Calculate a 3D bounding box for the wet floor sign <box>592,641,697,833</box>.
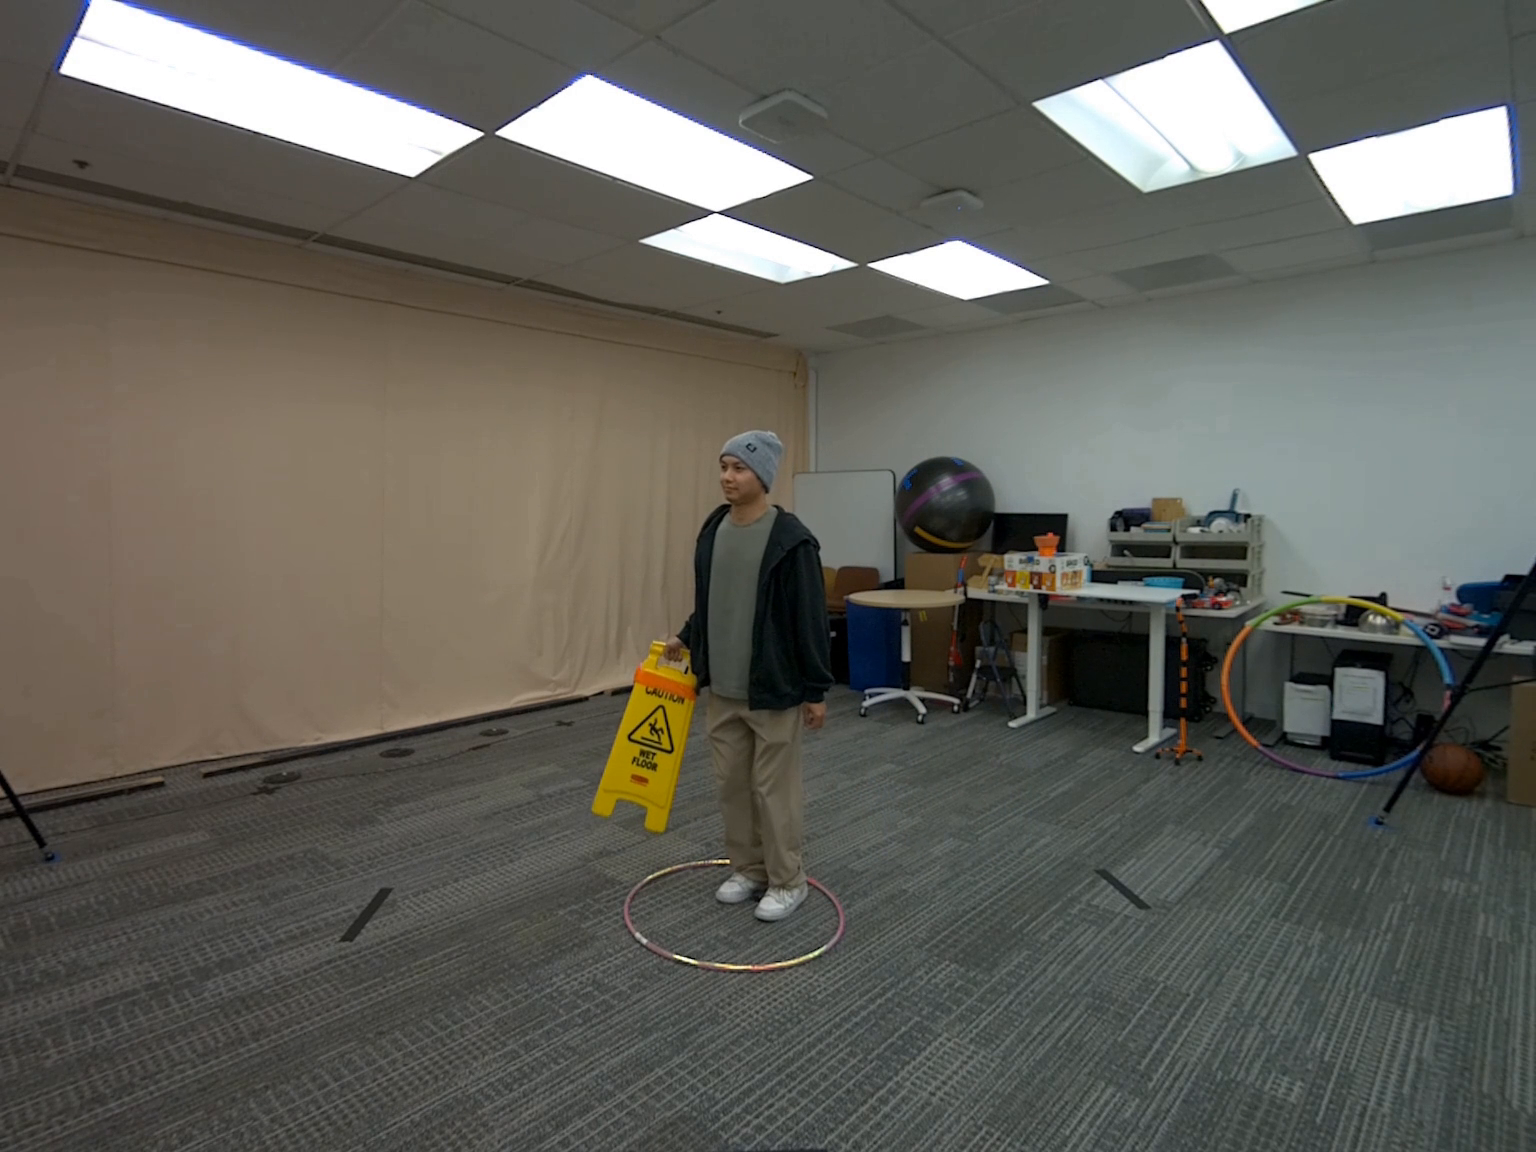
[{"bbox_3d":[-0.428,0.582,3.163,0.283,0.645,0.289,13,4,3],"label":"wet floor sign"}]
